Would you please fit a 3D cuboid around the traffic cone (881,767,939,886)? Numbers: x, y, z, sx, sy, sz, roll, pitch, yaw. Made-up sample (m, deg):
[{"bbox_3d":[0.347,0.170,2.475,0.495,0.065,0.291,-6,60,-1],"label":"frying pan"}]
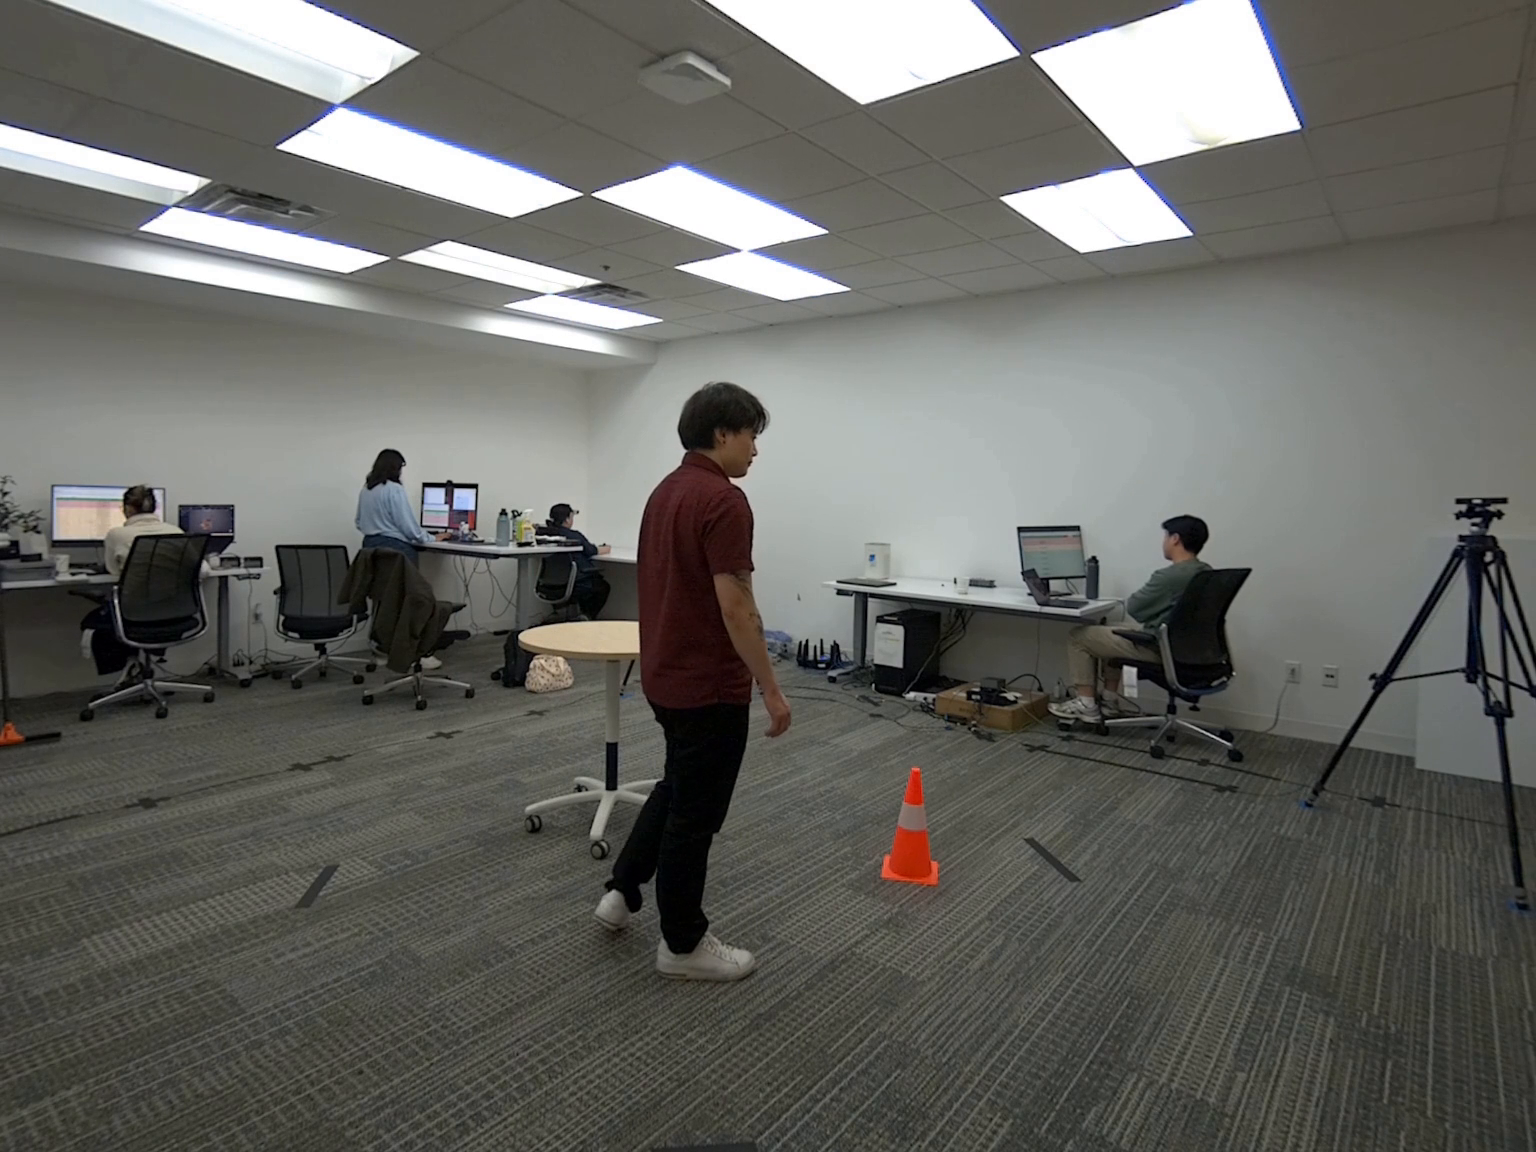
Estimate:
[{"bbox_3d":[0.531,0.896,3.137,0.207,0.382,0.202,4,4,16],"label":"traffic cone"}]
